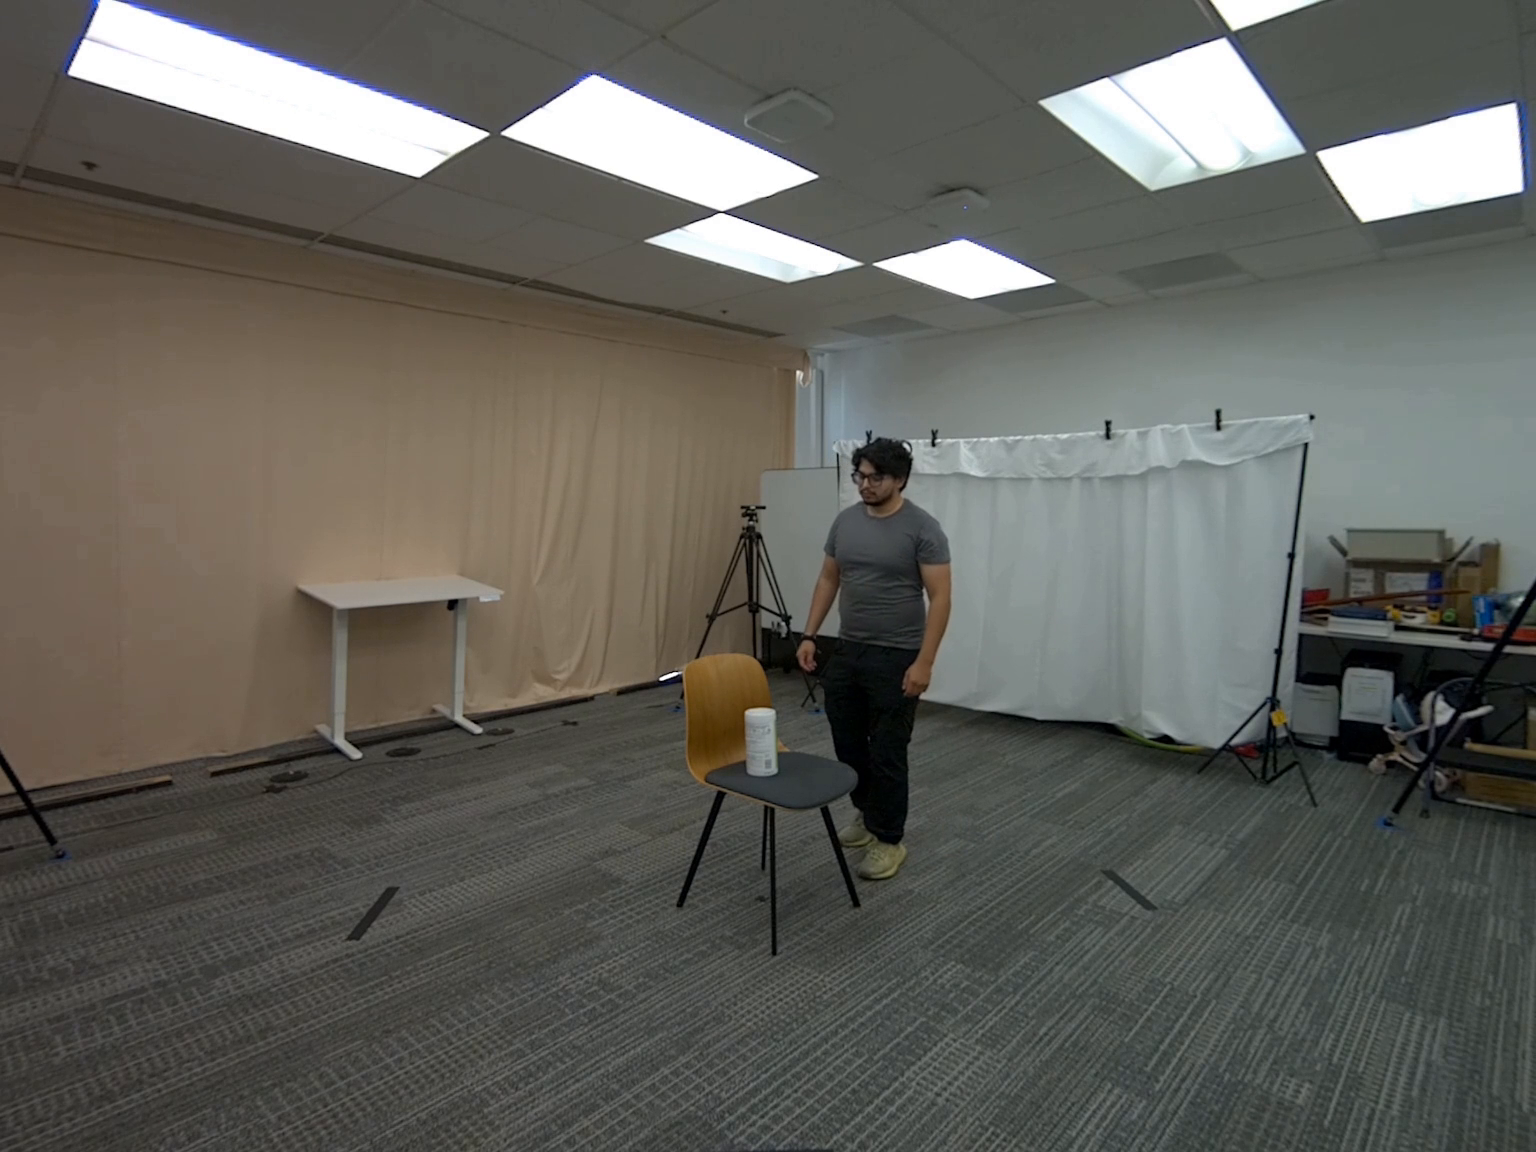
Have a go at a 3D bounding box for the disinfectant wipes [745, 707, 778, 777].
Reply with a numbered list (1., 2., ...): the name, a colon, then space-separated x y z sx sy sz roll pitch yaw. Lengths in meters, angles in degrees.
1. disinfectant wipes: -0.022 0.570 2.906 0.118 0.217 0.118 0 2 -2
